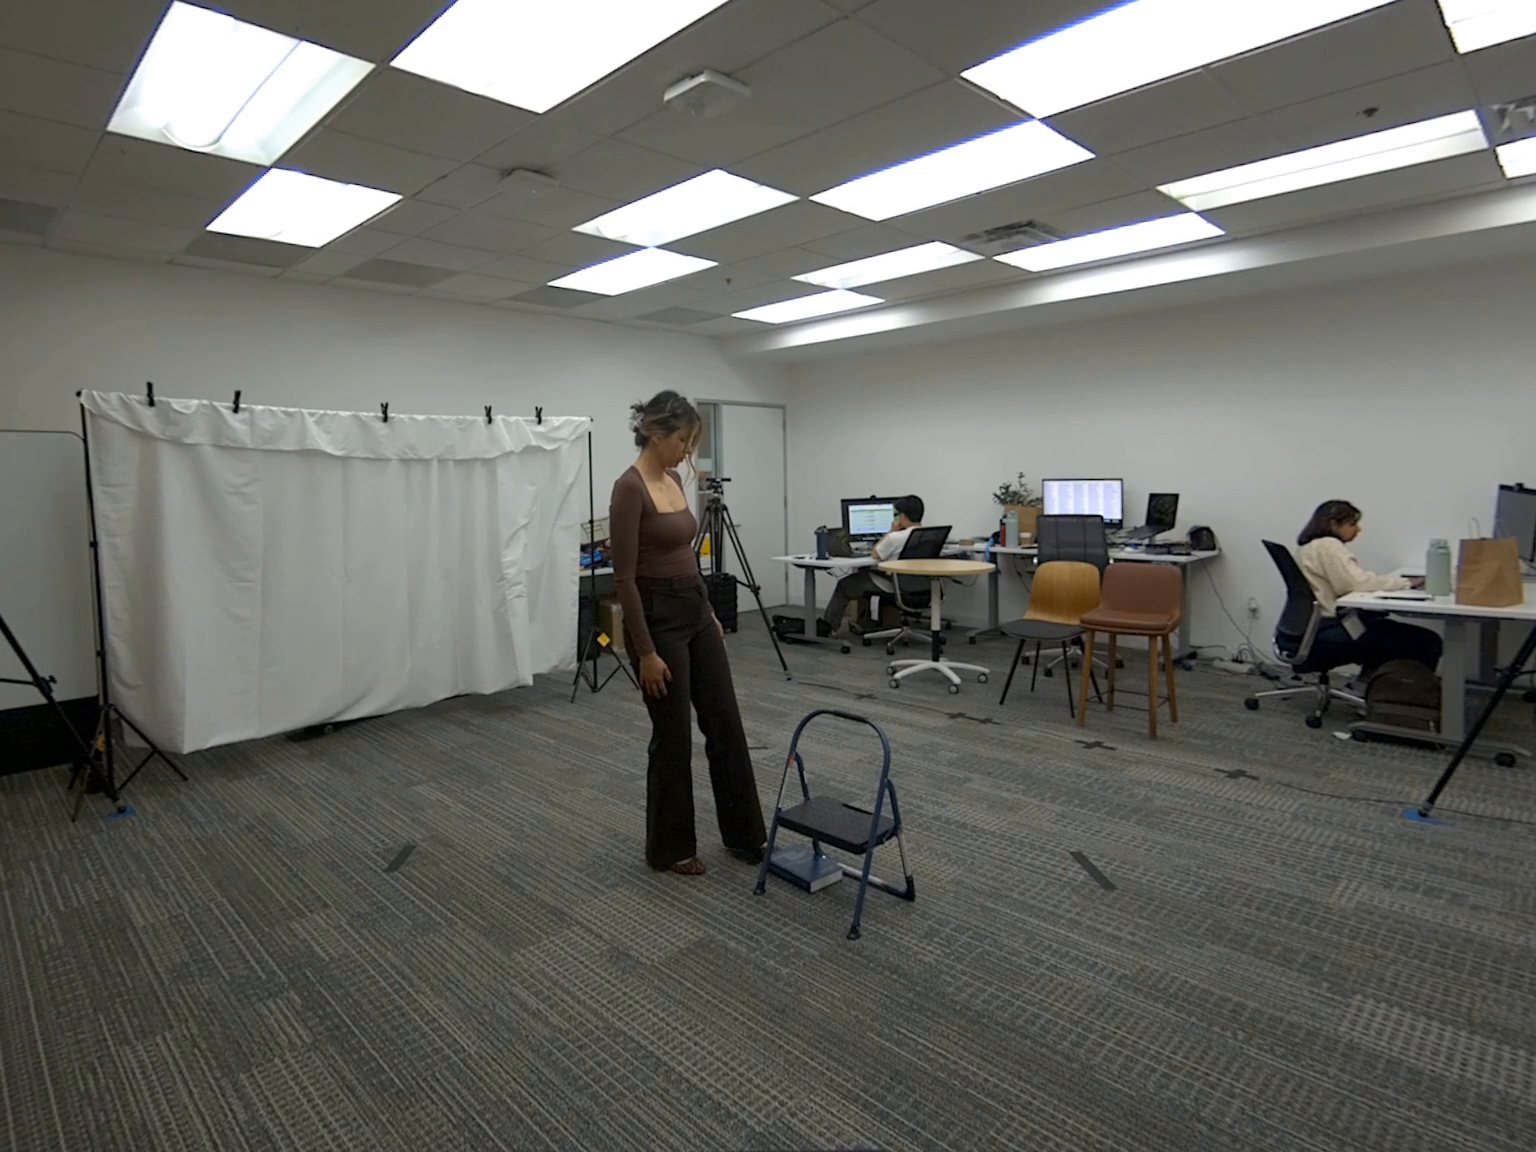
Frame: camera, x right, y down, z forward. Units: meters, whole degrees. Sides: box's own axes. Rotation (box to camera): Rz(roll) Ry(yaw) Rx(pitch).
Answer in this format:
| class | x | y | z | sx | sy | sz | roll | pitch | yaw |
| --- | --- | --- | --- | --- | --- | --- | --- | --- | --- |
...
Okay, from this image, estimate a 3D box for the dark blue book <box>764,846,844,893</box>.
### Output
| class | x | y | z | sx | sy | sz | roll | pitch | yaw |
| --- | --- | --- | --- | --- | --- | --- | --- | --- | --- |
| dark blue book | 0.122 | 1.023 | 3.003 | 0.159 | 0.045 | 0.253 | -6 | 8 | -40 |
